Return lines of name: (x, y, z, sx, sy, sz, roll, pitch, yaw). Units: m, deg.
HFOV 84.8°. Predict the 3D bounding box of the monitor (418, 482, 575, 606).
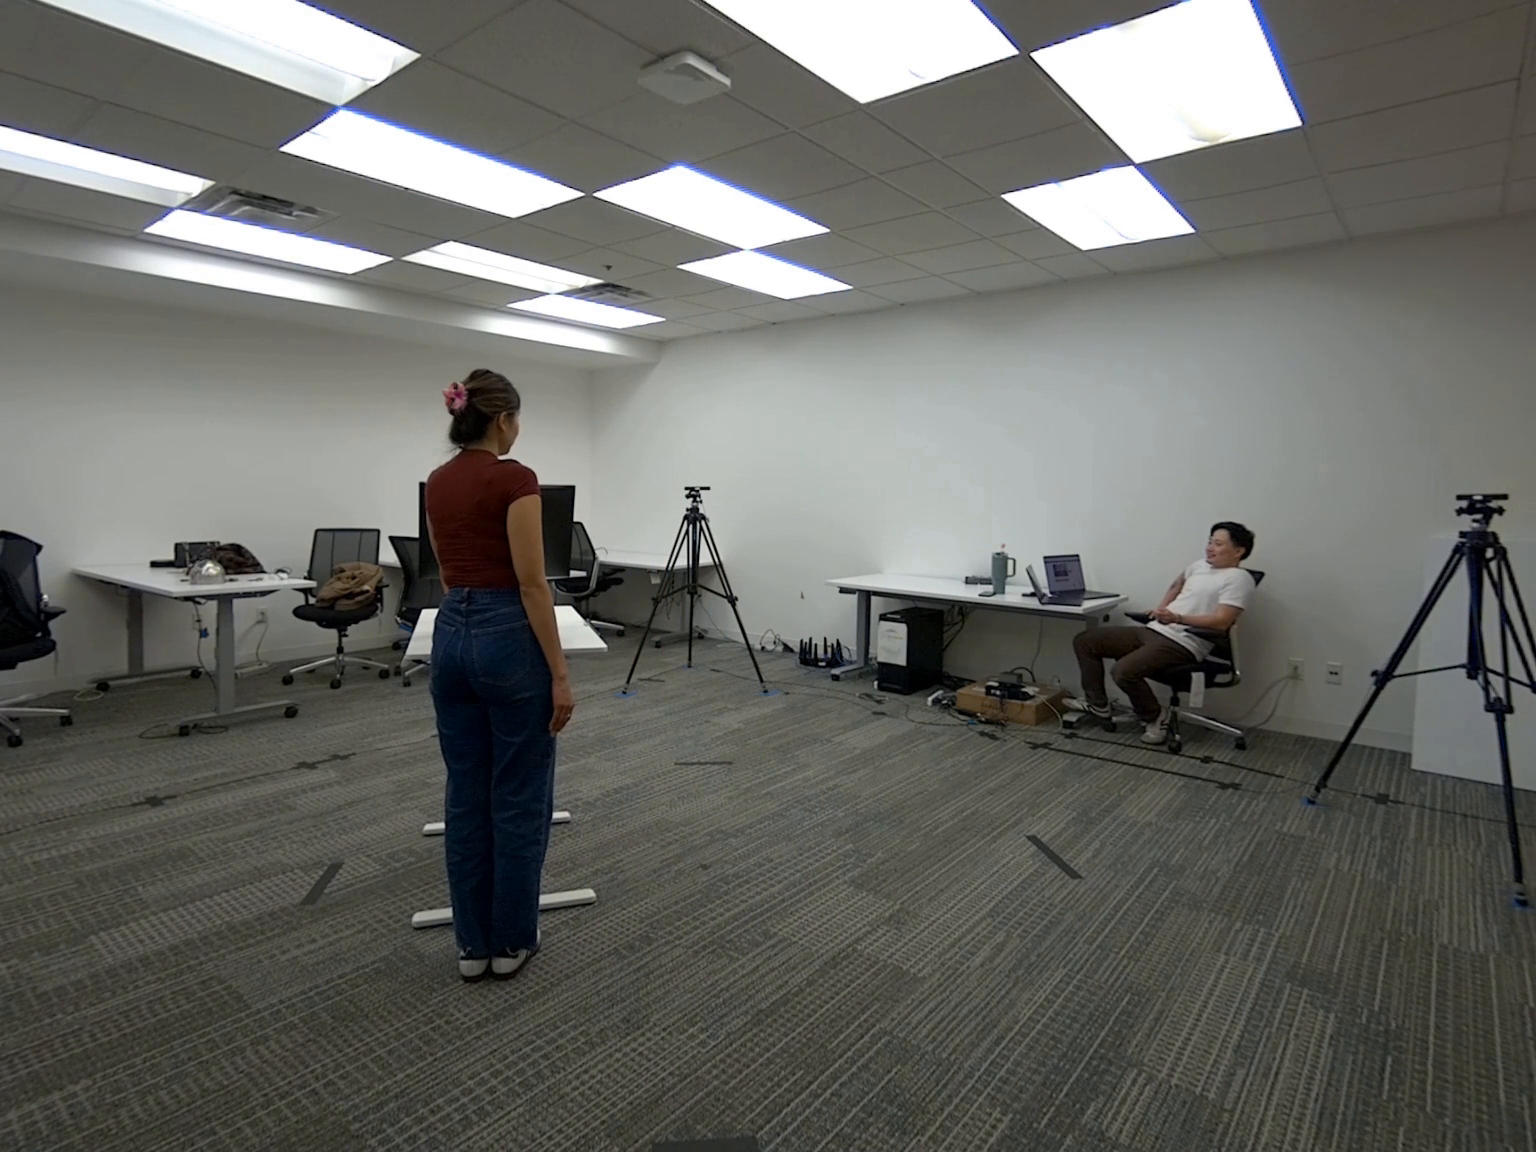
monitor: (-0.968, -0.071, 3.002, 0.527, 0.520, 0.192, 0, 5, -23)
